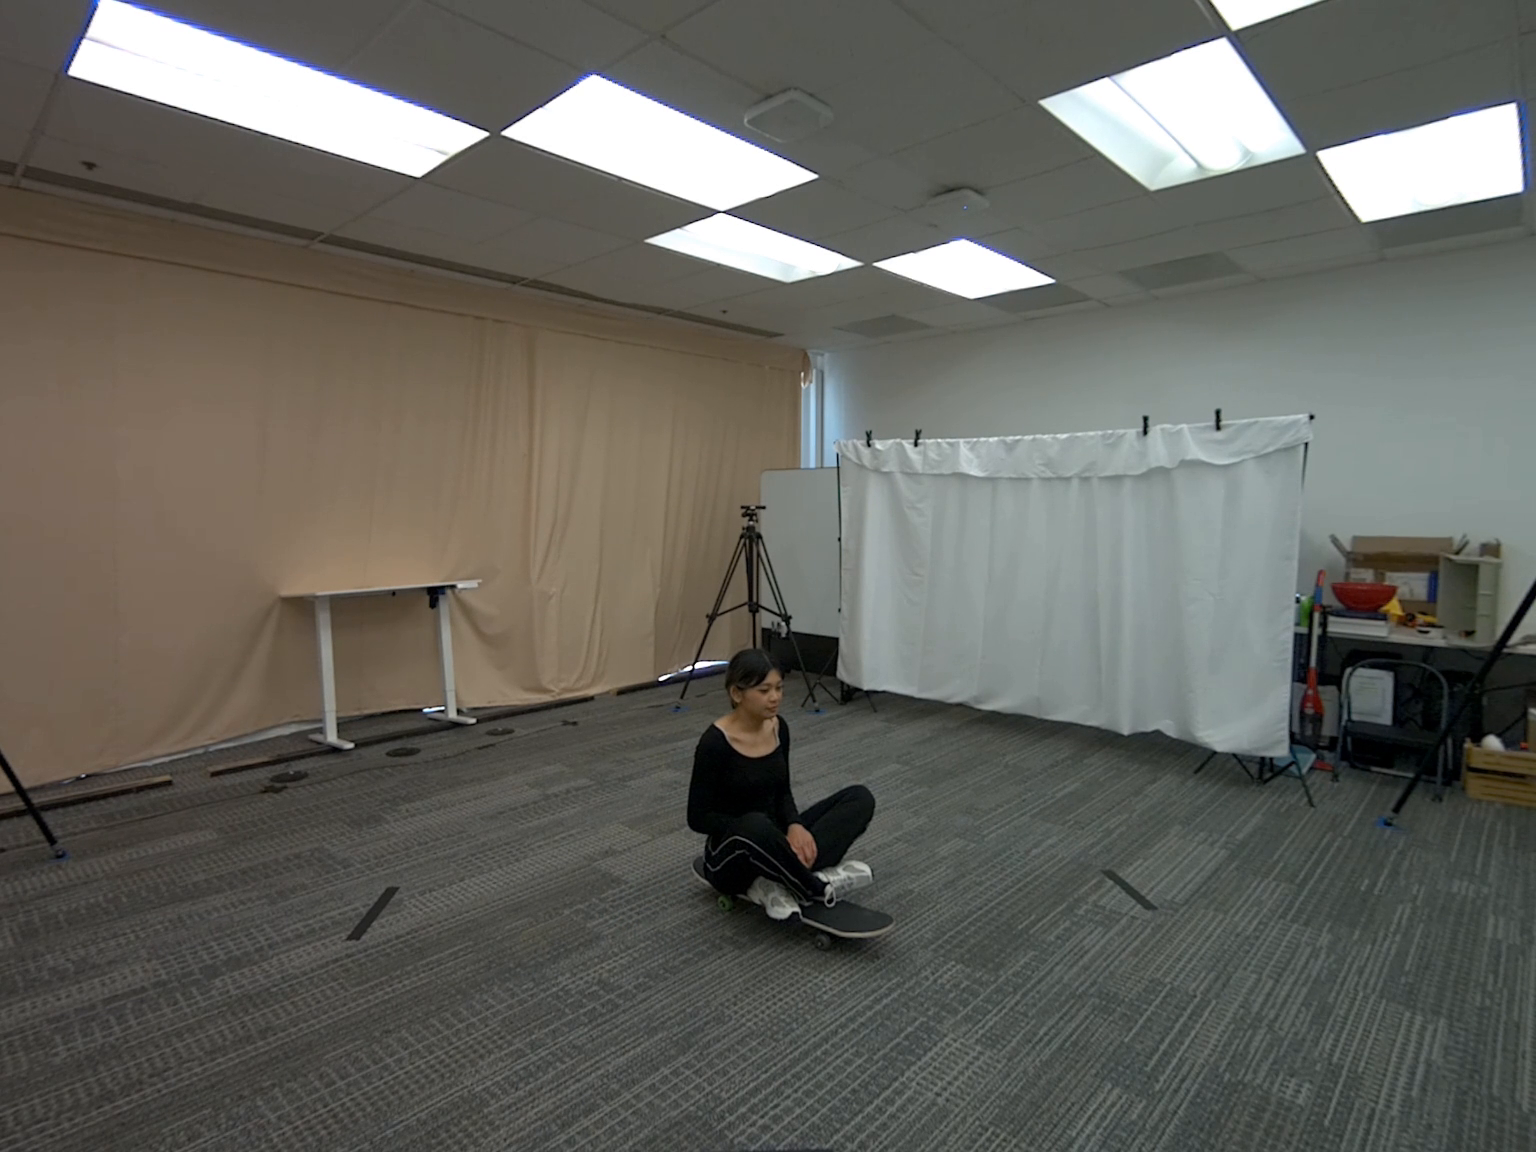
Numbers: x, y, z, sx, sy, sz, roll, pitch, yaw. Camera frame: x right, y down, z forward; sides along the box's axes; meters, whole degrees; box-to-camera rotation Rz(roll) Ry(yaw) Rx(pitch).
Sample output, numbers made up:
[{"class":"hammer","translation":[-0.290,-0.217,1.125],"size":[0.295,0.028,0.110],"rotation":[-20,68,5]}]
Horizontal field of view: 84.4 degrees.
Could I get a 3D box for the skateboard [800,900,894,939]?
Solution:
[{"class":"skateboard","translation":[0.073,1.097,2.820],"size":[0.810,0.110,0.188],"rotation":[2,5,37]}]
